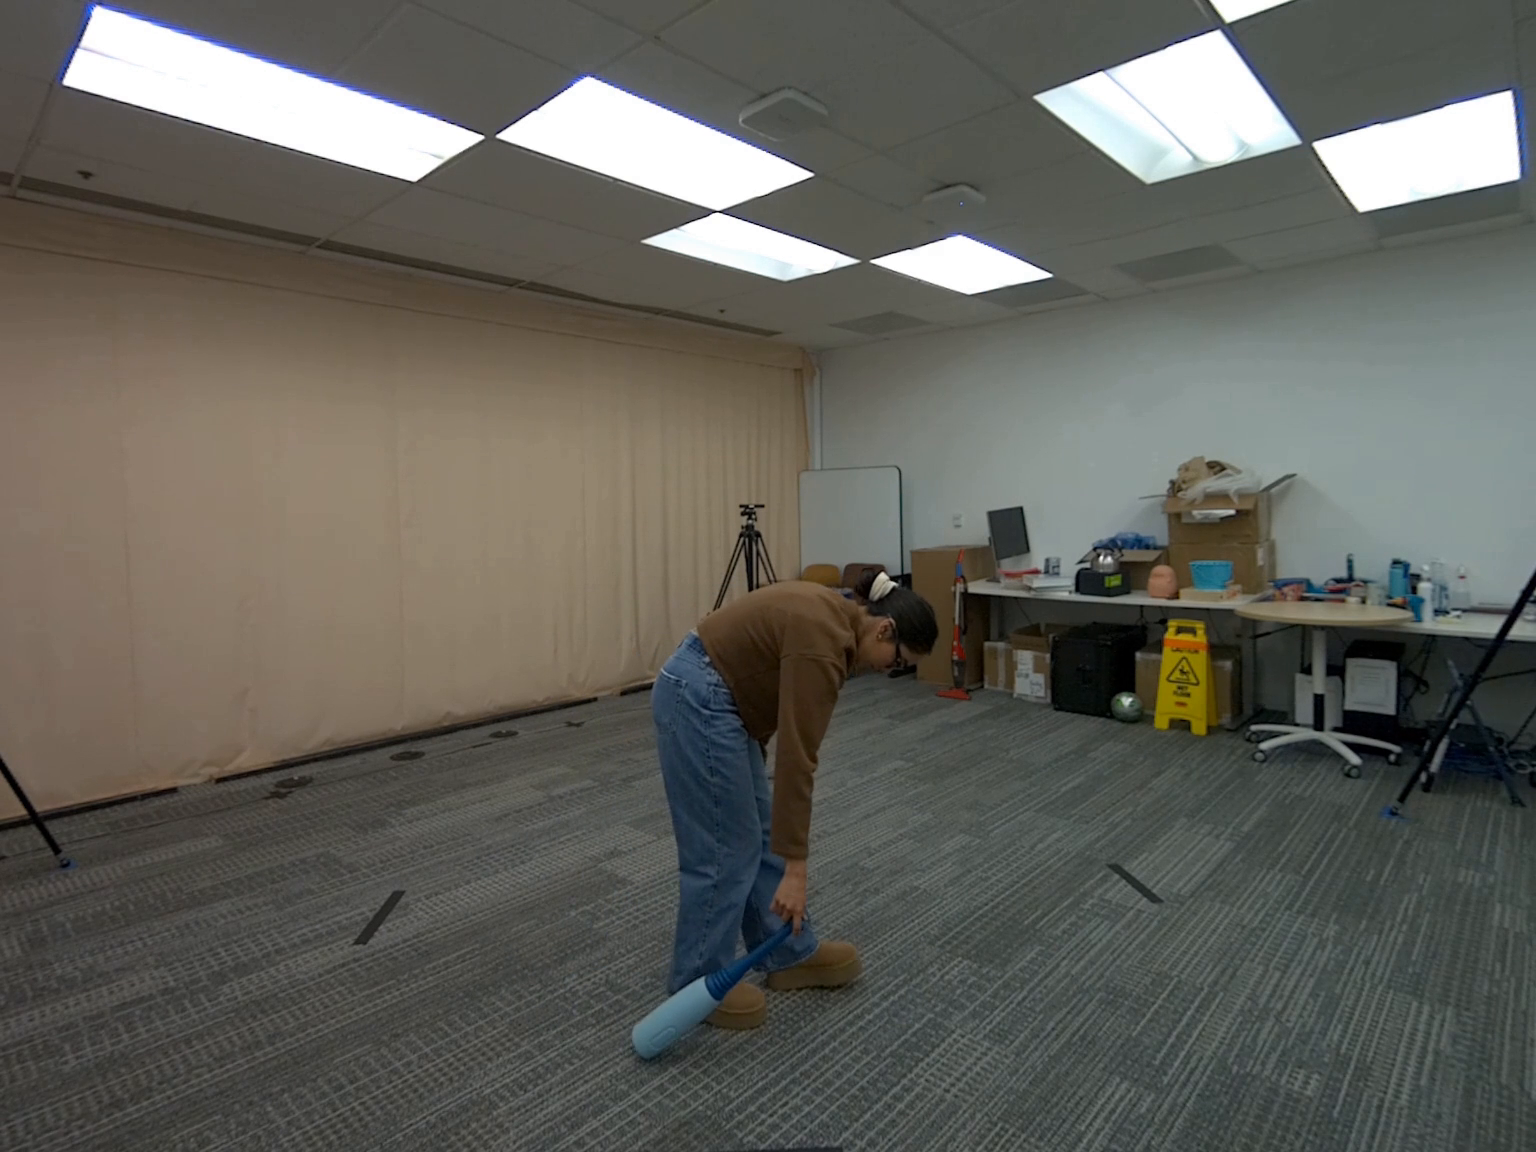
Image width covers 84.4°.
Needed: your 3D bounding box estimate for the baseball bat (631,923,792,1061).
[{"bbox_3d":[-0.122,1.017,2.107,0.544,0.089,0.088,-40,0,7],"label":"baseball bat"}]
